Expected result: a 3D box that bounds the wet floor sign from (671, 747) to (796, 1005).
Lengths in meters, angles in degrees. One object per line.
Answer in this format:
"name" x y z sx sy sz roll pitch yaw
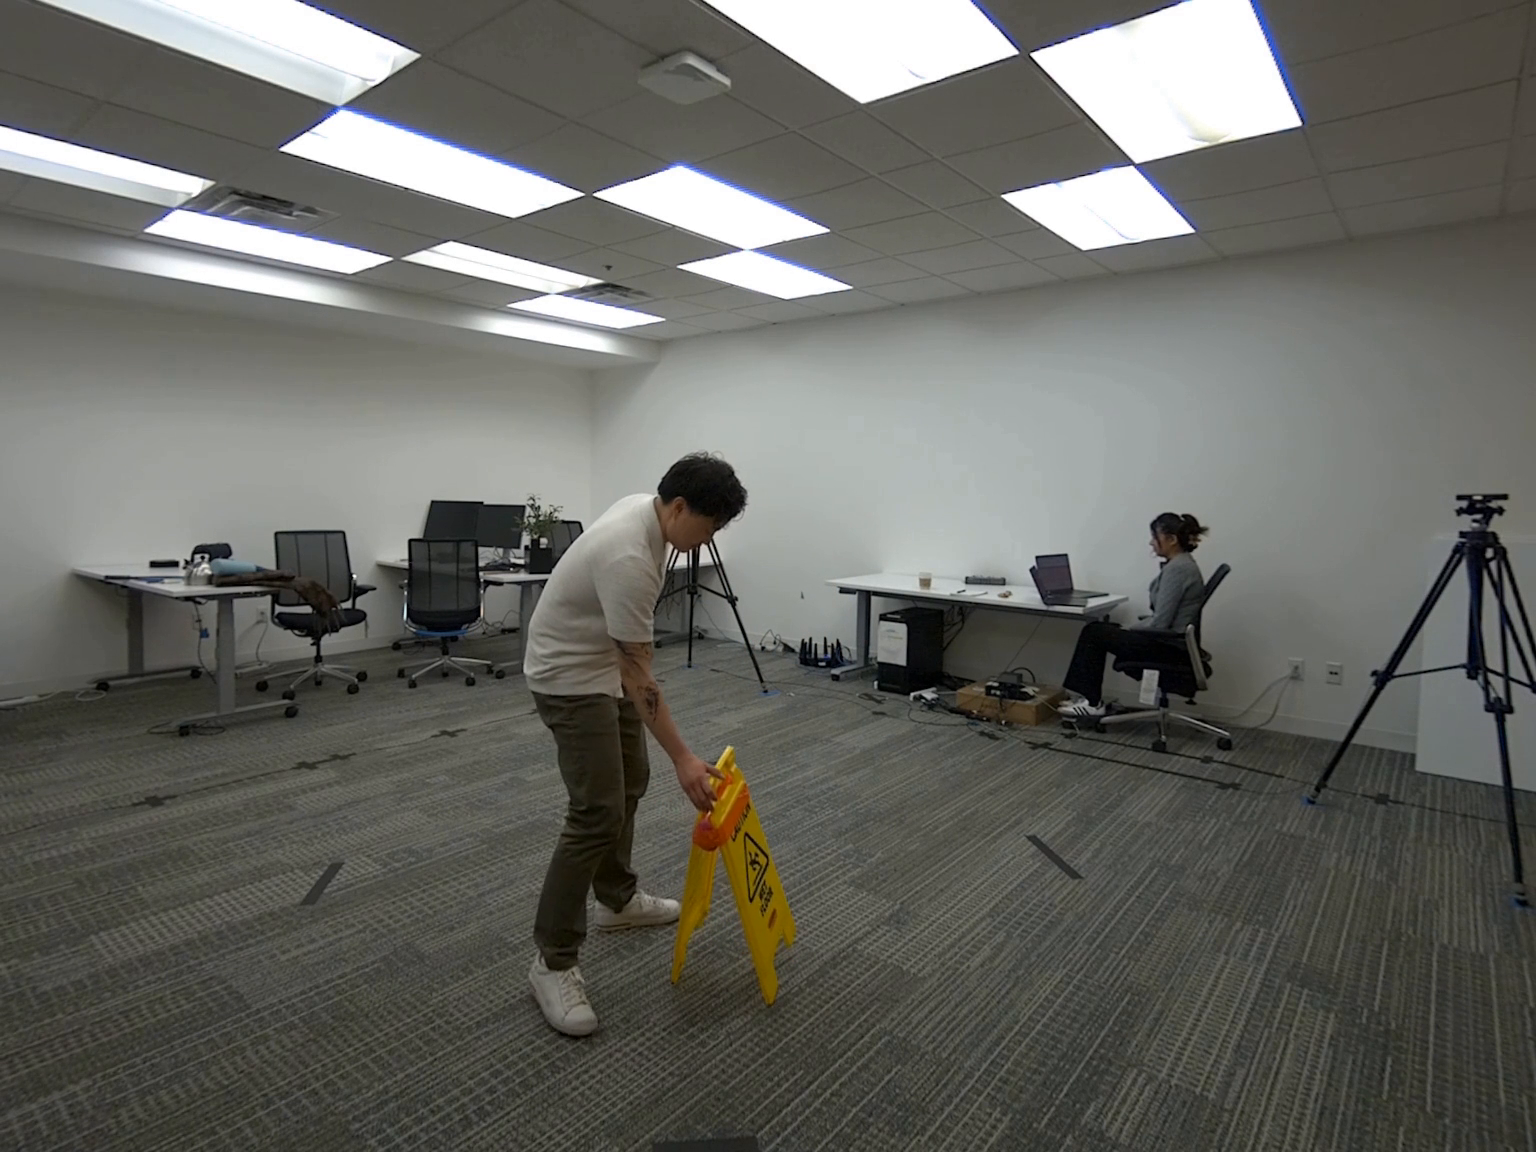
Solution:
"wet floor sign" -0.116 0.800 2.357 0.296 0.634 0.282 3 21 18
